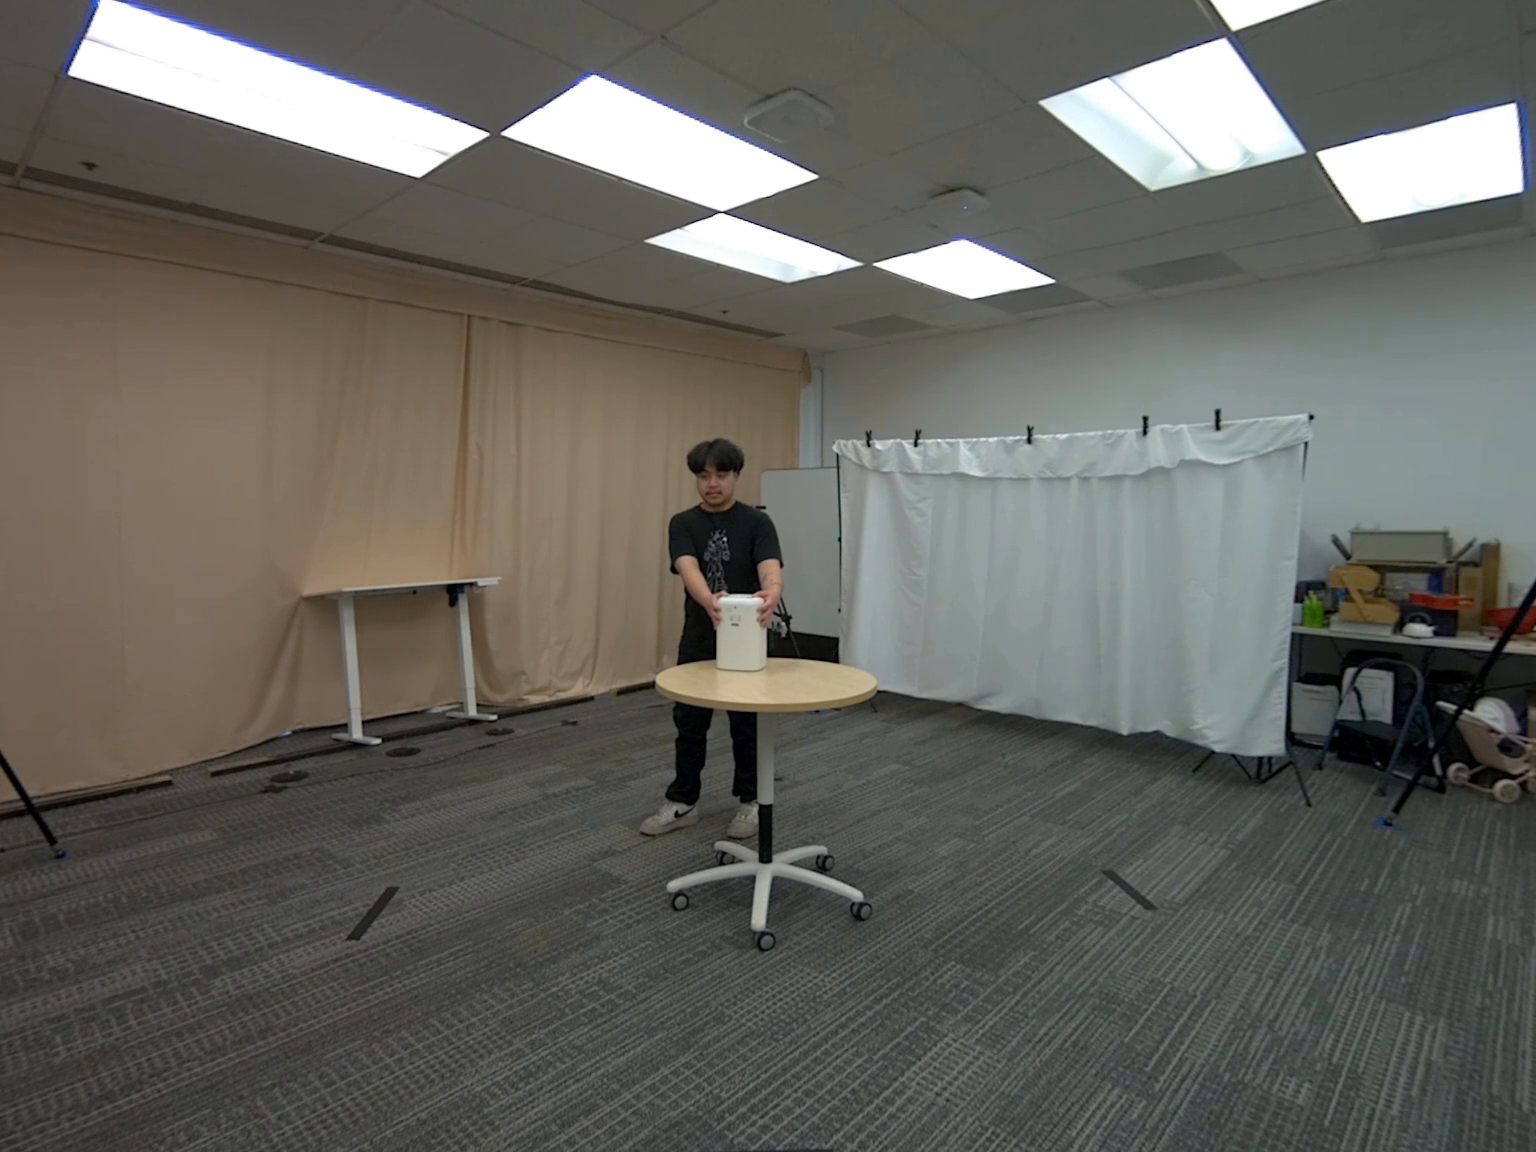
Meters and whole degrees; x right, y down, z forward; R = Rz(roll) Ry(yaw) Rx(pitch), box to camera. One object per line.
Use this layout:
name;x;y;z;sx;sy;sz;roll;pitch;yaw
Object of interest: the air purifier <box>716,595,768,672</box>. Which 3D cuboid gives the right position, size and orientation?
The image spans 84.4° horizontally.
air purifier;-0.095;0.208;3.123;0.174;0.265;0.169;0;2;14
